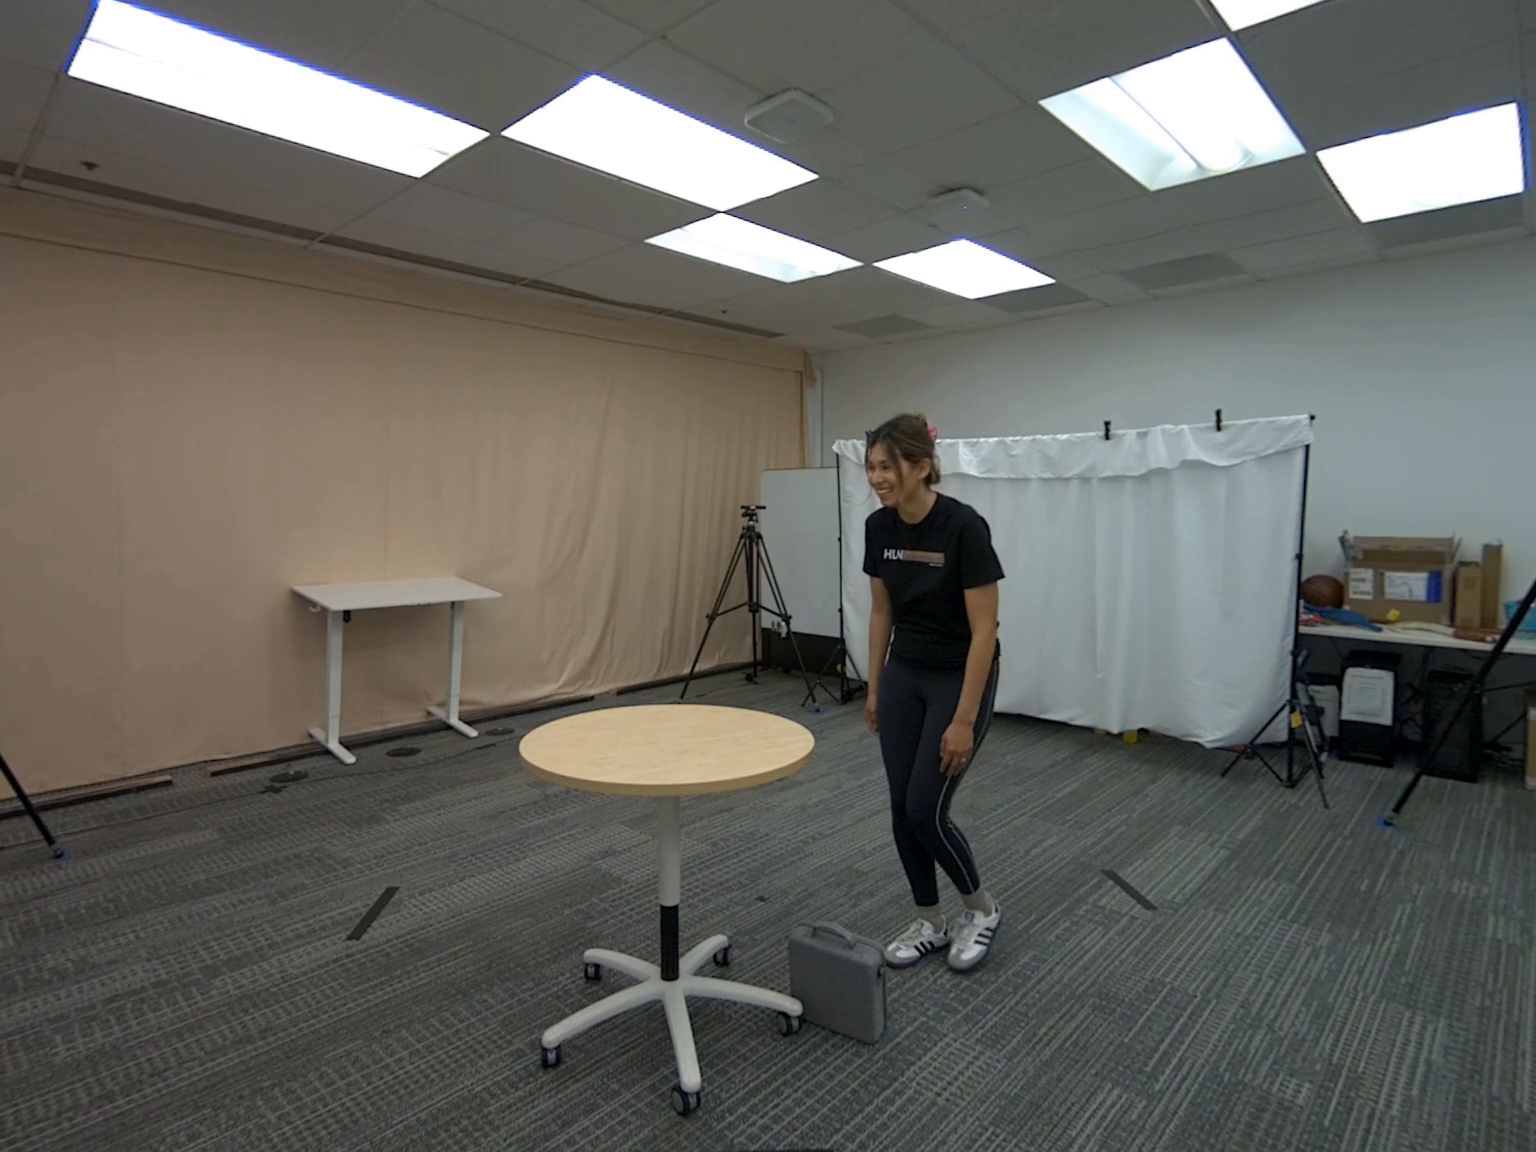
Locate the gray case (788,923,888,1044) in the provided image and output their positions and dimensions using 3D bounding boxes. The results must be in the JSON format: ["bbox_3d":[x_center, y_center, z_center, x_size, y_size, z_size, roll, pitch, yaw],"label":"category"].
[{"bbox_3d":[0.195,1.072,2.243,0.265,0.259,0.102,3,11,34],"label":"gray case"}]
